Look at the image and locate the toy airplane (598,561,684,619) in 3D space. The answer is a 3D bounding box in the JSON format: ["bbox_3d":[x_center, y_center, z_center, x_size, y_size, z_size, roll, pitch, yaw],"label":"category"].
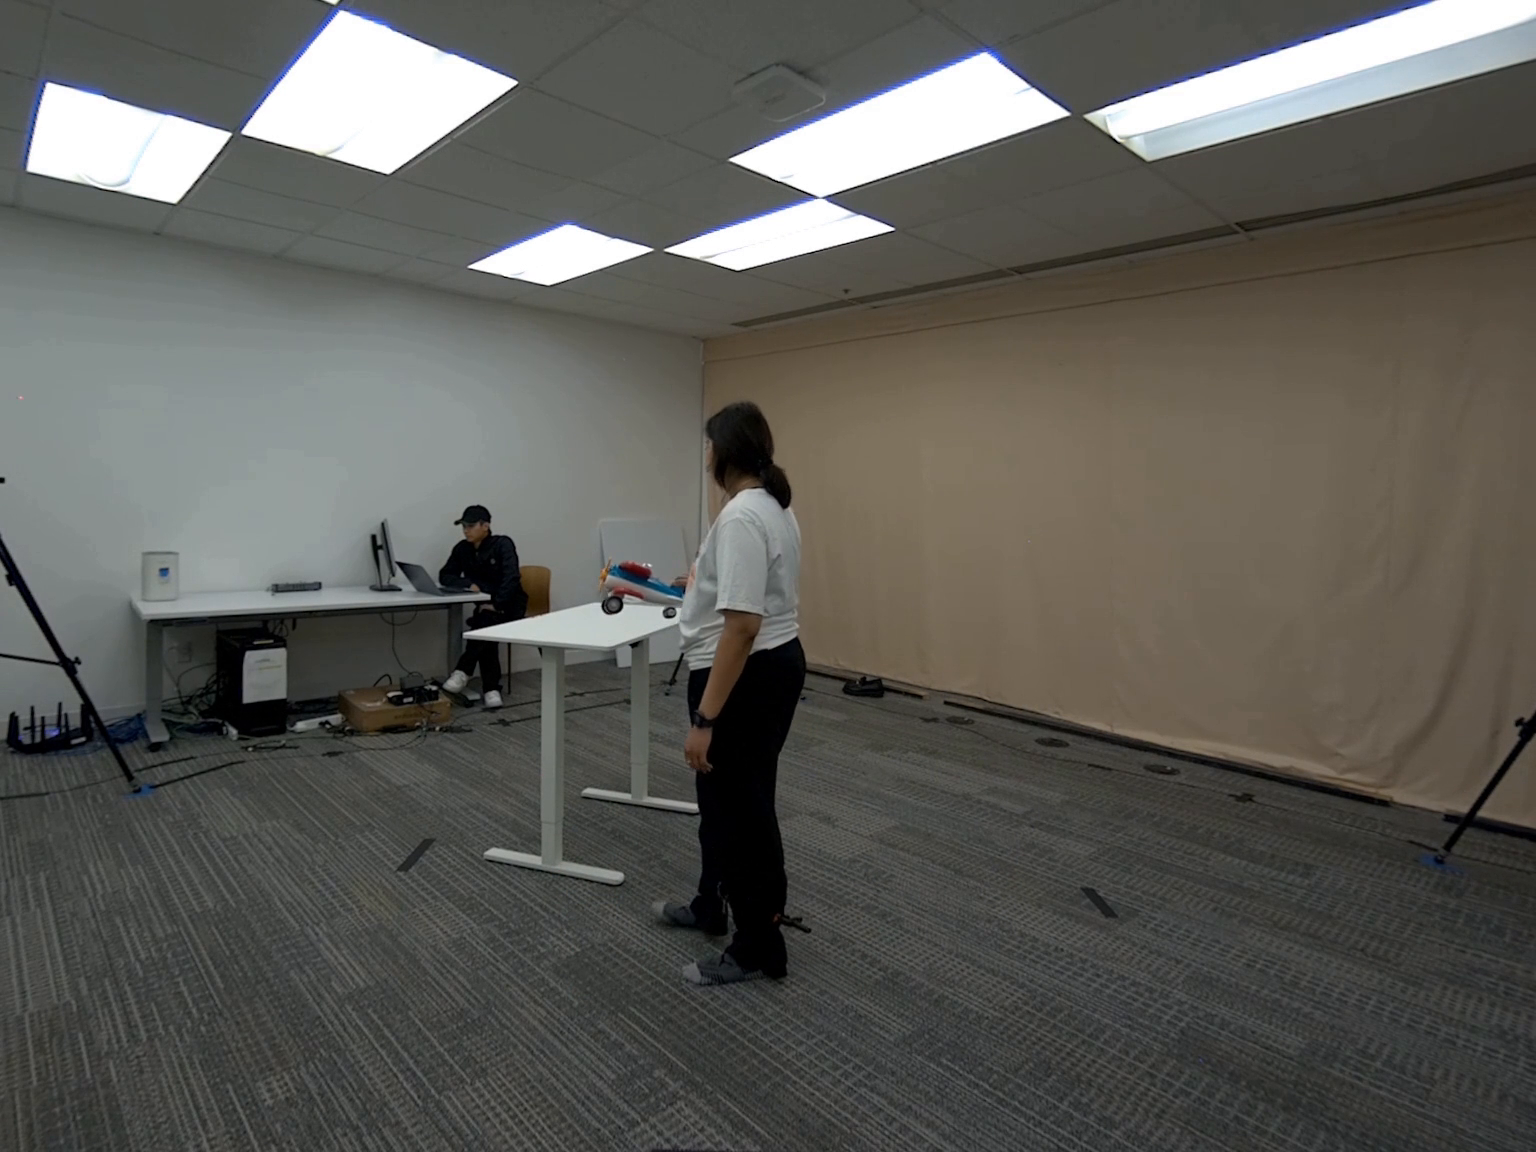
[{"bbox_3d":[-0.390,0.049,2.556,0.252,0.157,0.256,9,-9,-41],"label":"toy airplane"}]
